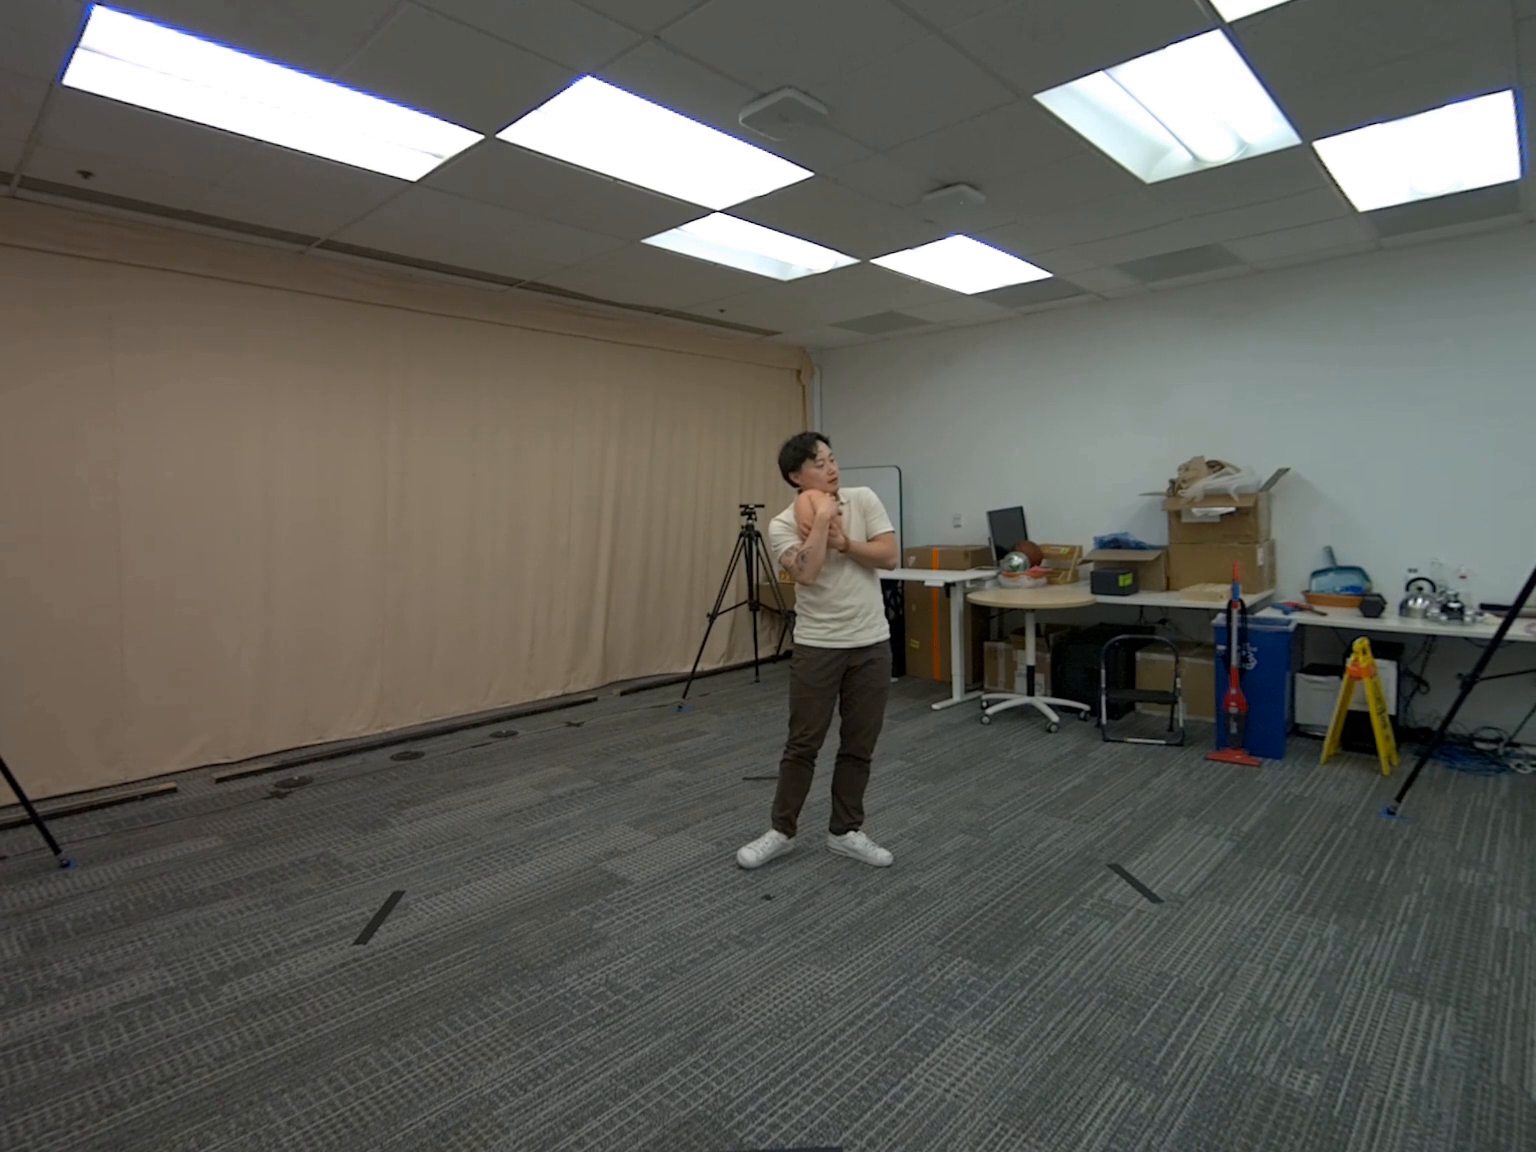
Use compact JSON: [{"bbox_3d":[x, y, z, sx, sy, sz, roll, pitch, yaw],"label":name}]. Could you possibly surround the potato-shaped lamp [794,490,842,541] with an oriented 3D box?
[{"bbox_3d":[0.185,-0.233,3.194,0.161,0.170,0.204,1,43,-25],"label":"potato-shaped lamp"}]
